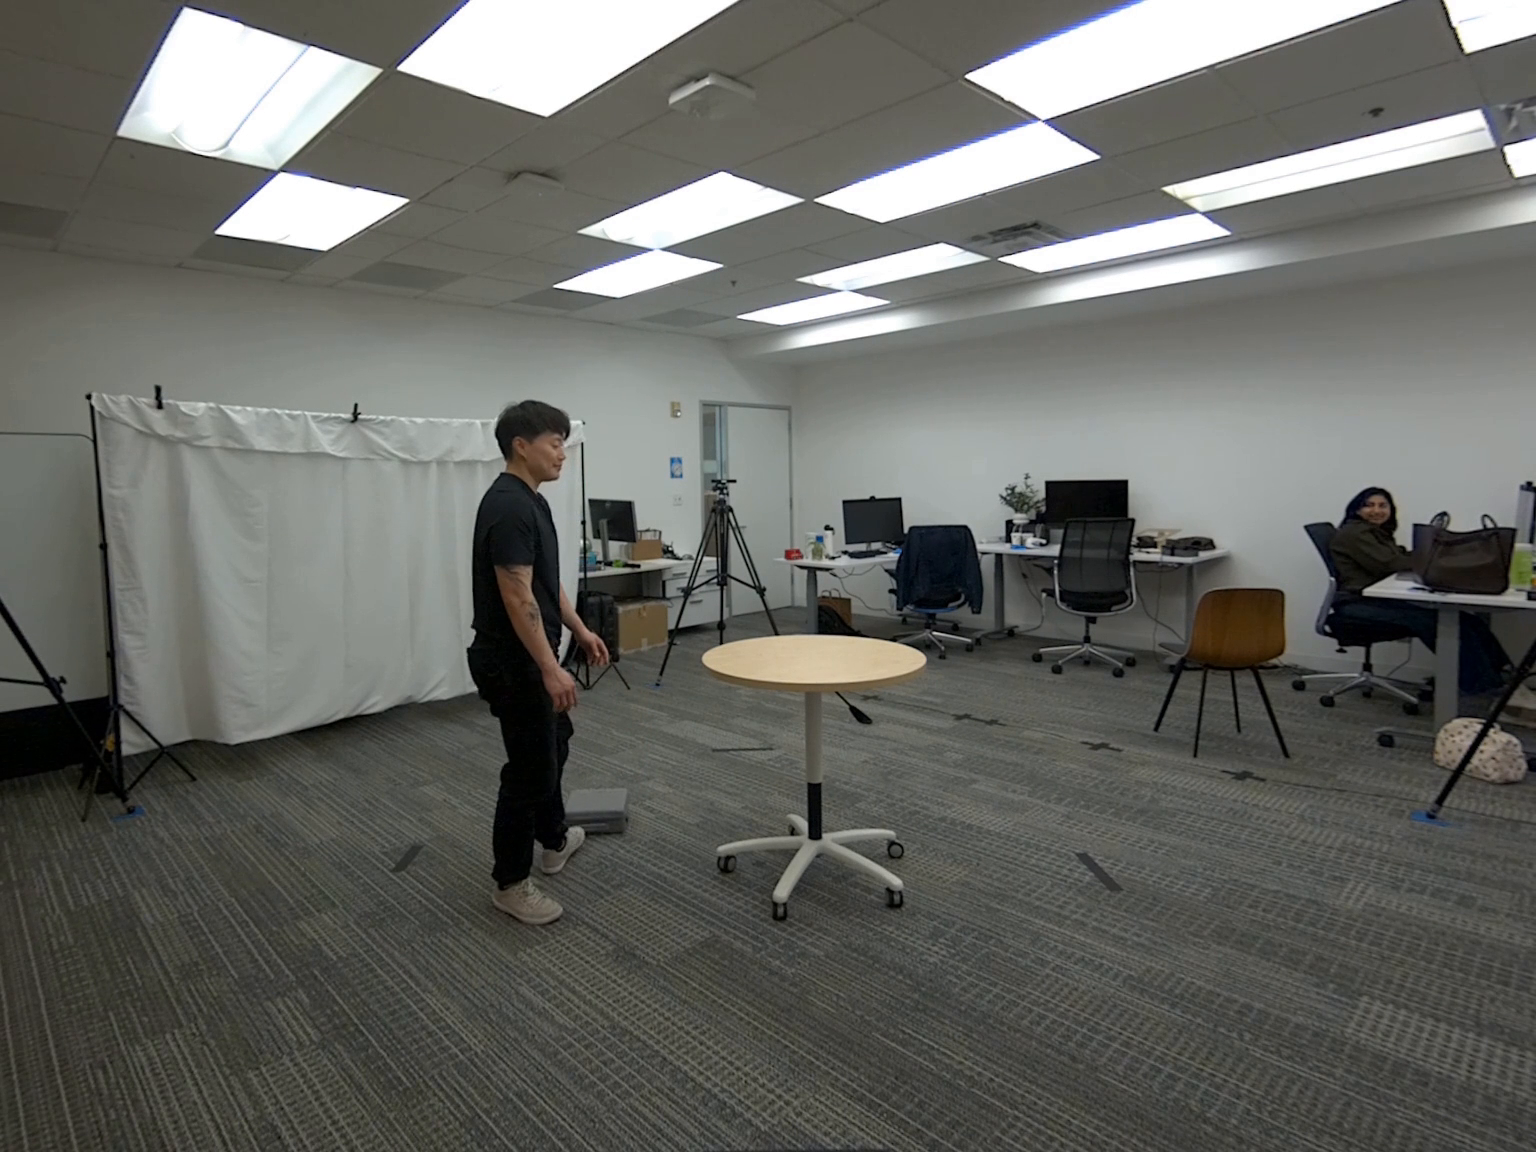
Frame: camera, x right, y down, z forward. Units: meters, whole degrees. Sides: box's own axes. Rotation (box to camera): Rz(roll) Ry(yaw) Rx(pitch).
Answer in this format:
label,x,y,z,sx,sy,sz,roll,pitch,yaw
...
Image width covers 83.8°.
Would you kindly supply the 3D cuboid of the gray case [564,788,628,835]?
label,x,y,z,sx,sy,sz,roll,pitch,yaw
gray case,-0.704,0.959,3.507,0.256,0.104,0.263,-2,6,-5
